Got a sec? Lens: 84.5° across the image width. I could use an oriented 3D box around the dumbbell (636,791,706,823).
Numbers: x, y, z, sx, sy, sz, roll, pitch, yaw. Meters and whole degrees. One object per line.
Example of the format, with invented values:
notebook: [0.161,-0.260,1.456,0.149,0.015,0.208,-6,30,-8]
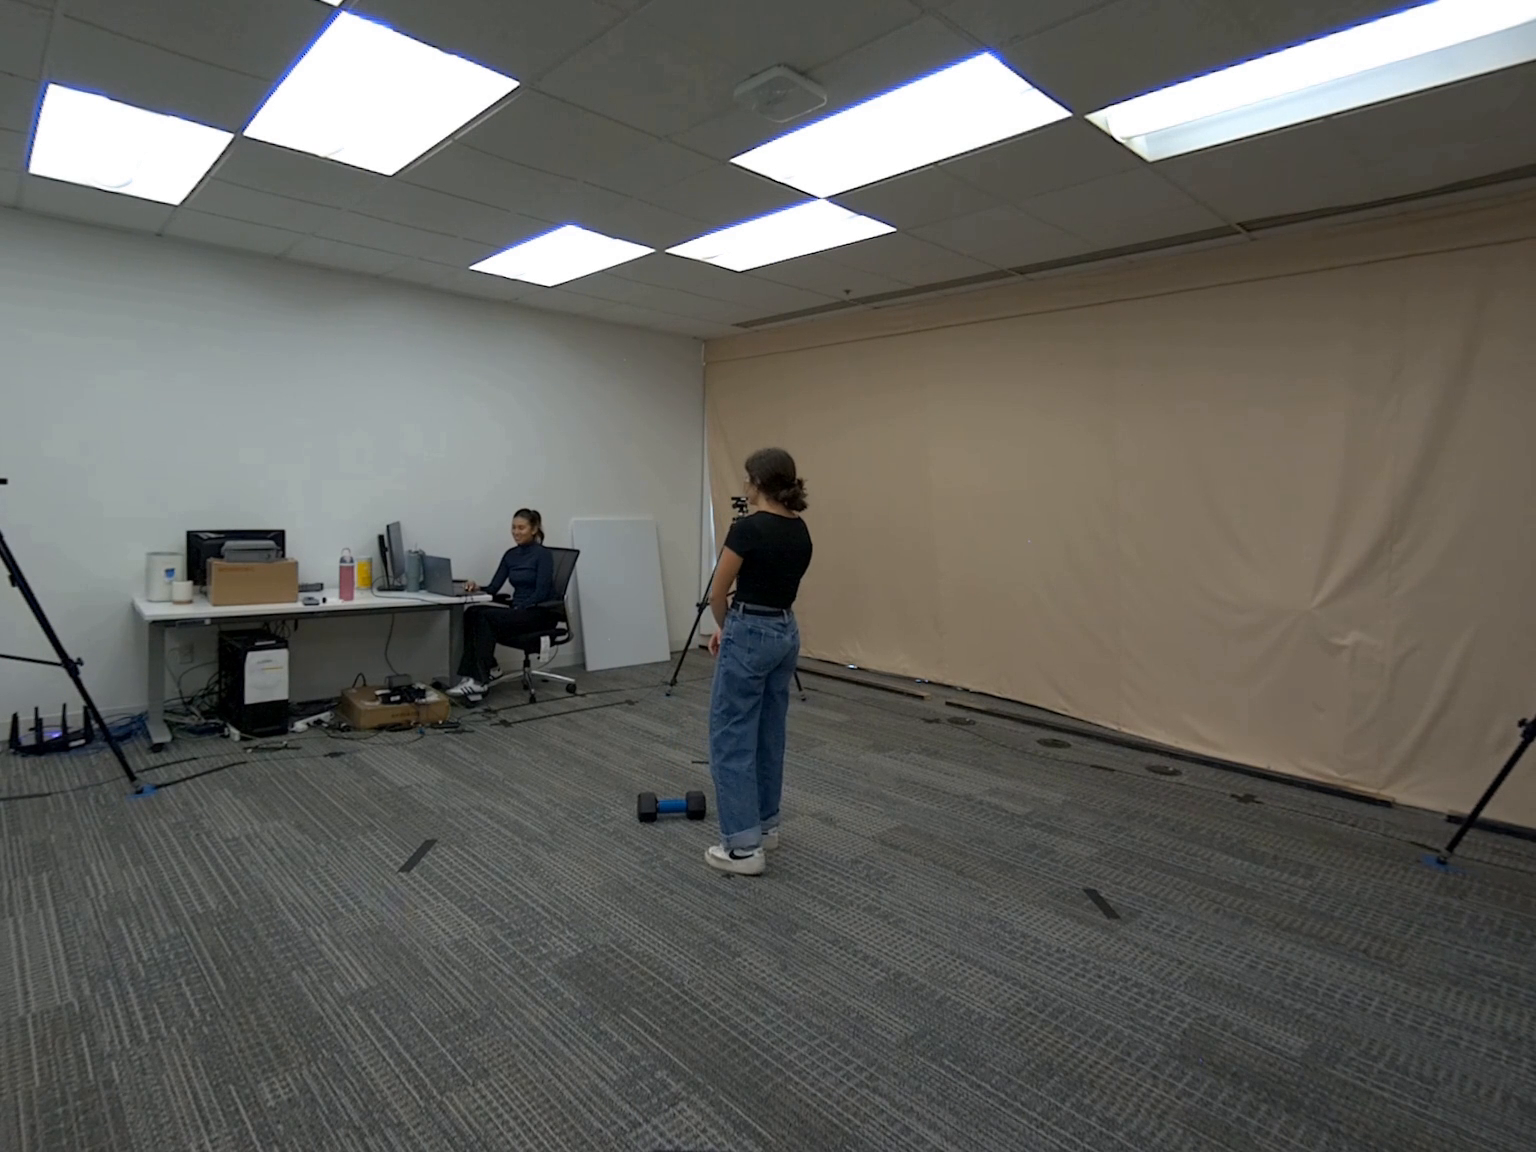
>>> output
dumbbell: [-0.429,1.000,3.652,0.291,0.125,0.107,0,-26,-11]
